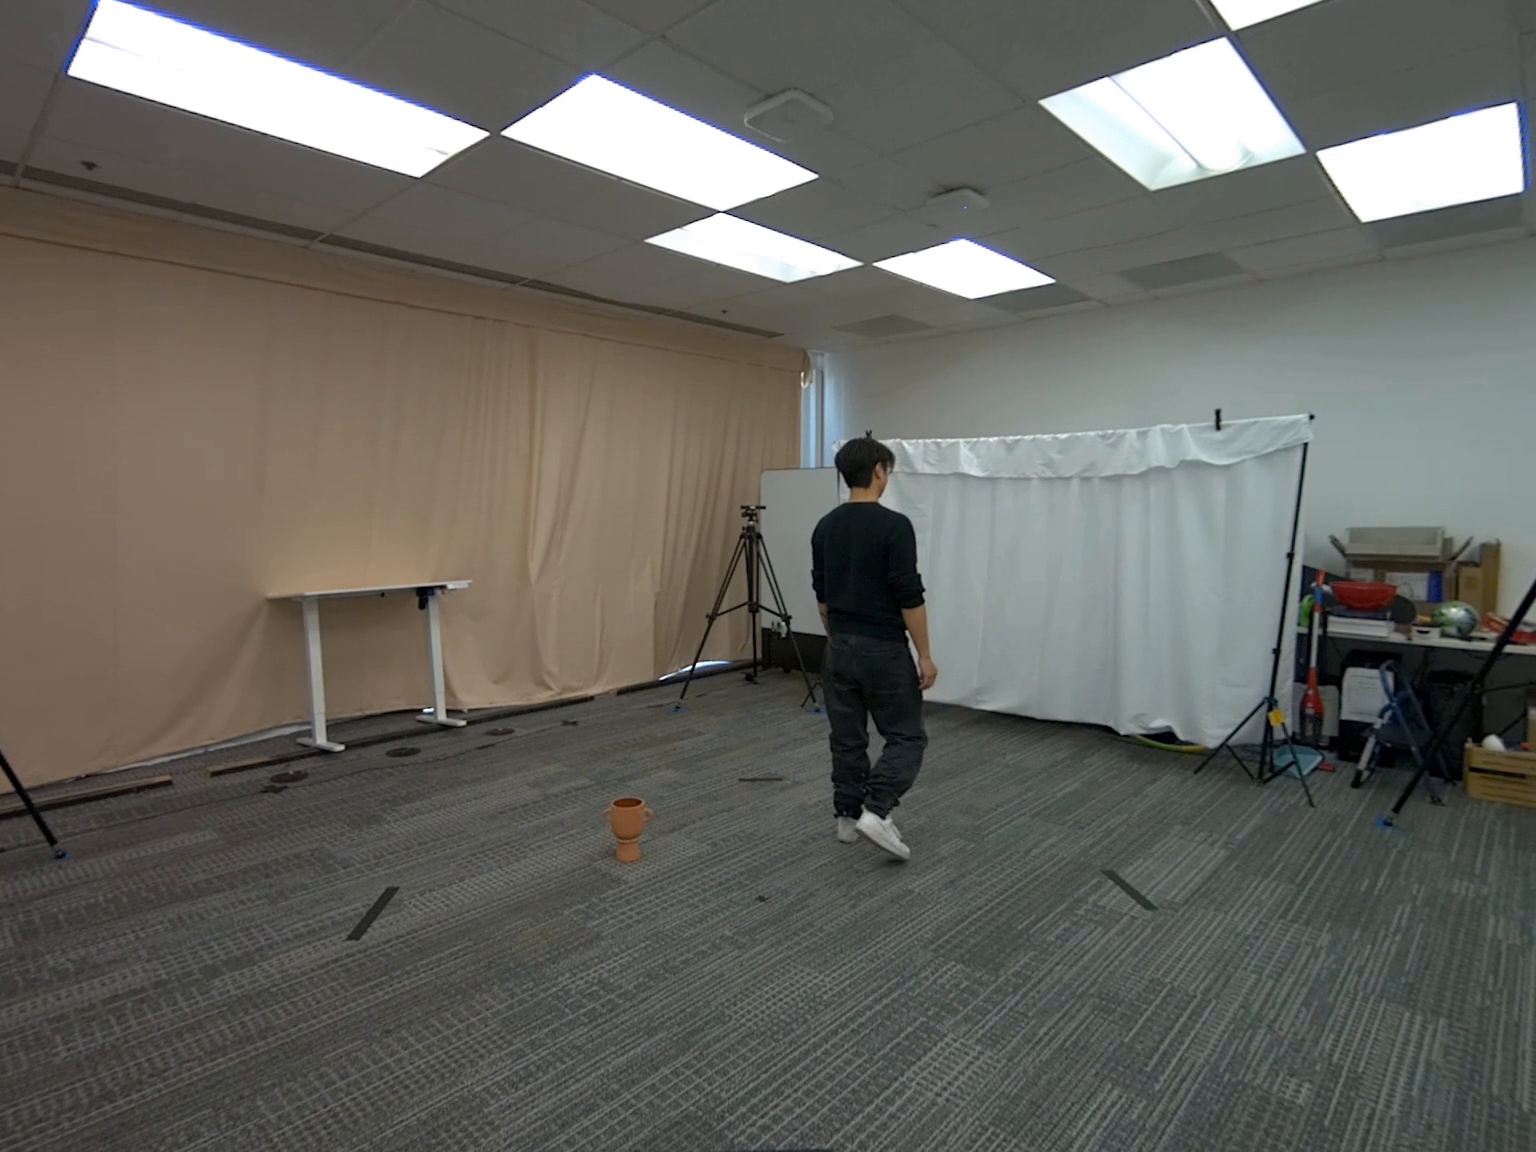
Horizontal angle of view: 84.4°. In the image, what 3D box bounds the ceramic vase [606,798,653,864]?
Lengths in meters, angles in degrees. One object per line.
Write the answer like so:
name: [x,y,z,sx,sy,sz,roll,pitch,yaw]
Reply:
ceramic vase: [-0.555,1.006,3.343,0.164,0.219,0.130,1,3,37]
